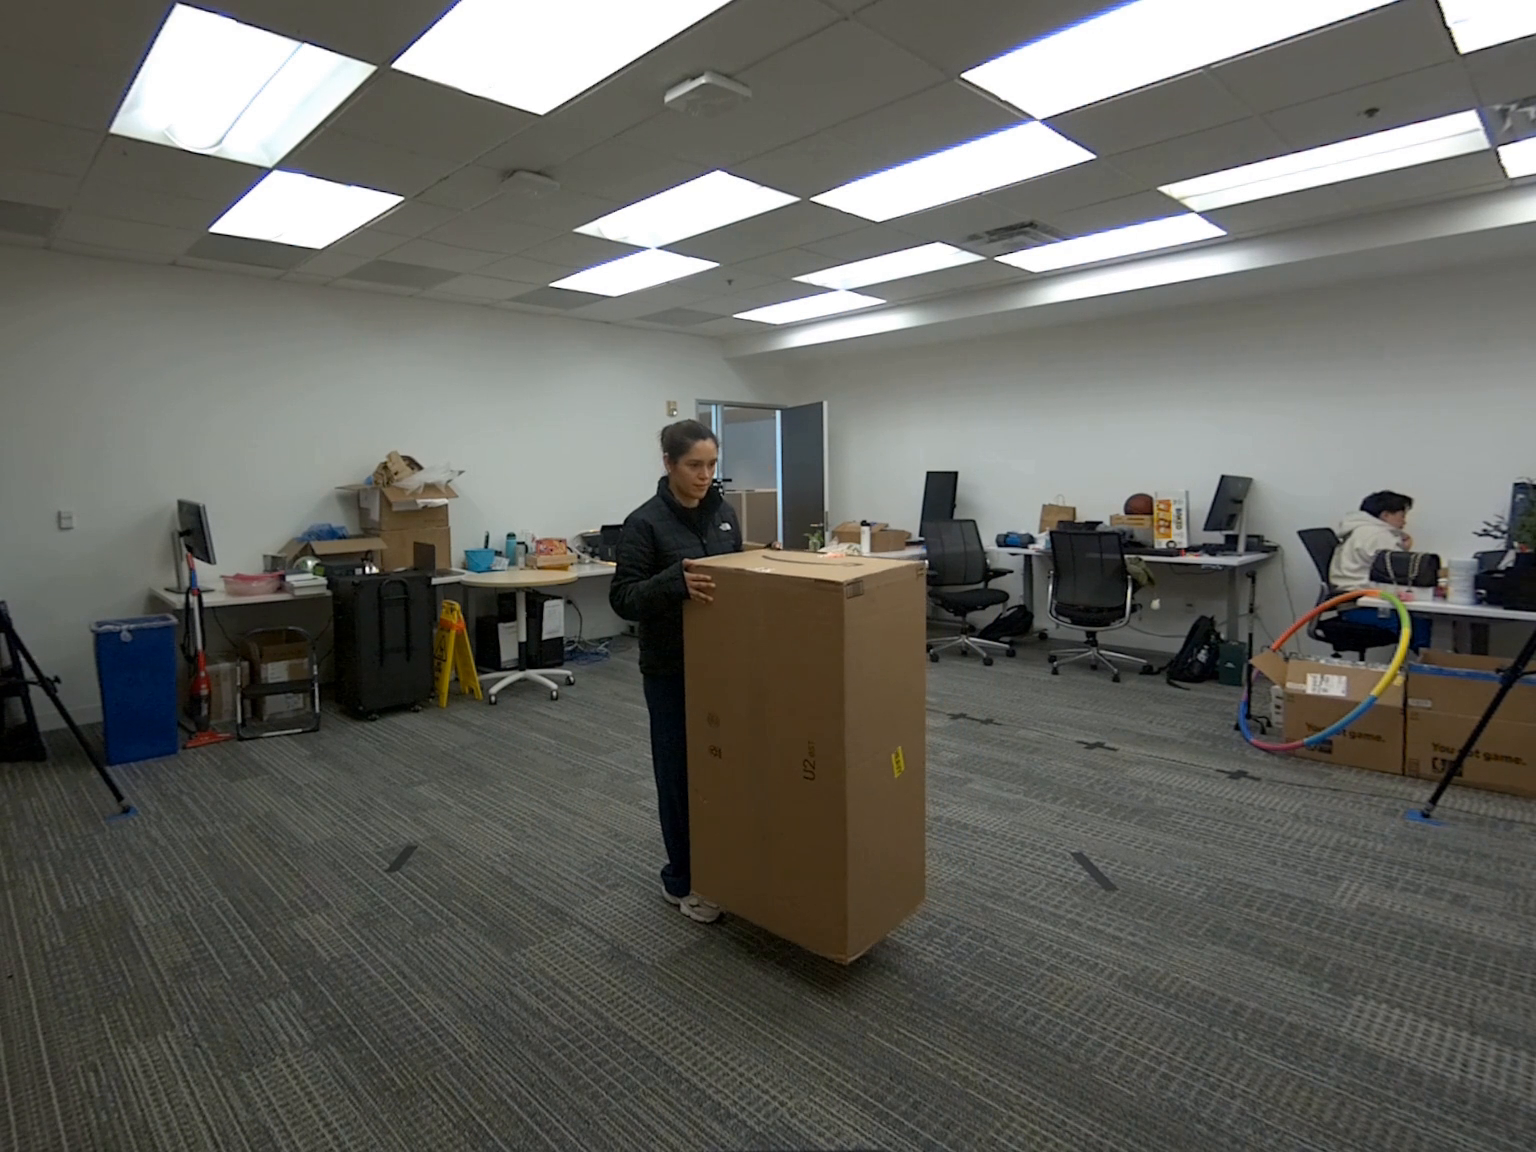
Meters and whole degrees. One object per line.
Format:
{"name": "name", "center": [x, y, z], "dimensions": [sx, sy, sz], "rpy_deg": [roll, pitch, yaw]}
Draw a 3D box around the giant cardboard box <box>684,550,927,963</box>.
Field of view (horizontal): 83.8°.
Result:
{"name": "giant cardboard box", "center": [0.117, 0.472, 2.528], "dimensions": [0.595, 1.020, 0.416], "rpy_deg": [5, 8, 41]}
